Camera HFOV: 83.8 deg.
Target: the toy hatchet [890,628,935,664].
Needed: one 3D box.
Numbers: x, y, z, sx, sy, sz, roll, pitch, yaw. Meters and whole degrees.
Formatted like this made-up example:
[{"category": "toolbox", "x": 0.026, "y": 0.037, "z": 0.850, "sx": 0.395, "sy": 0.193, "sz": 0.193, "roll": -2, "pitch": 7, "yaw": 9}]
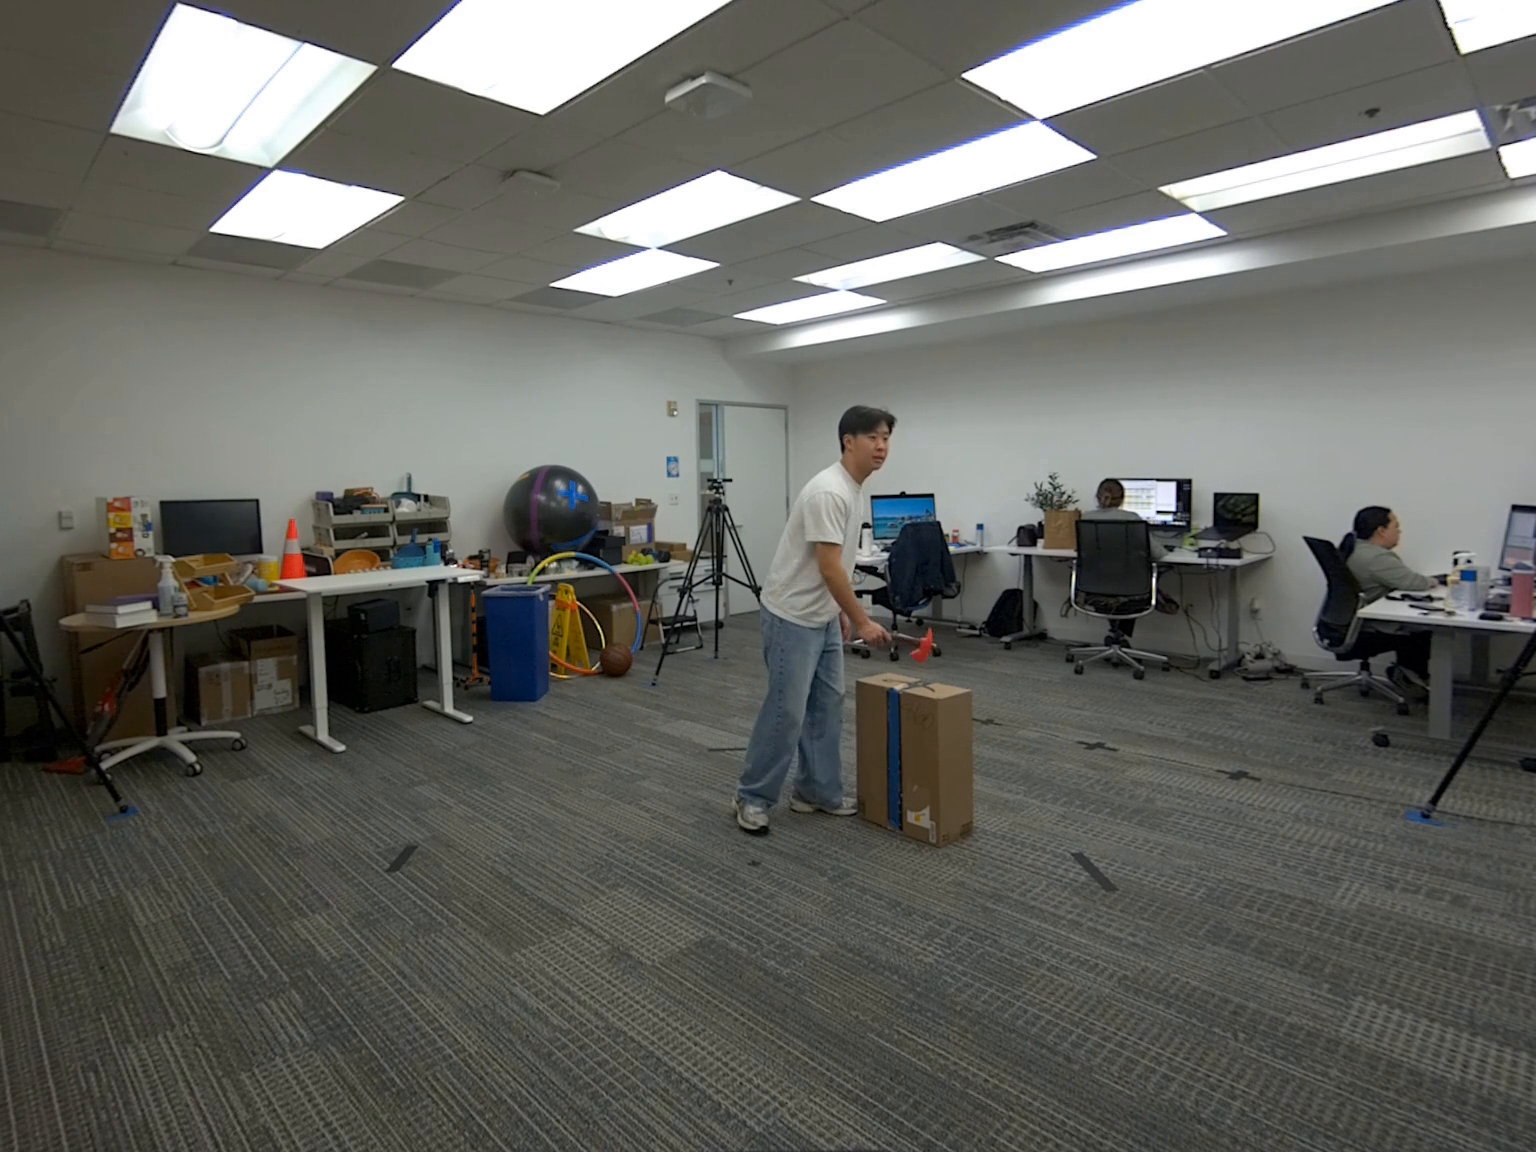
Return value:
[{"category": "toy hatchet", "x": 0.486, "y": 0.245, "z": 3.278, "sx": 0.272, "sy": 0.130, "sz": 0.029, "roll": -4, "pitch": 8, "yaw": 7}]
